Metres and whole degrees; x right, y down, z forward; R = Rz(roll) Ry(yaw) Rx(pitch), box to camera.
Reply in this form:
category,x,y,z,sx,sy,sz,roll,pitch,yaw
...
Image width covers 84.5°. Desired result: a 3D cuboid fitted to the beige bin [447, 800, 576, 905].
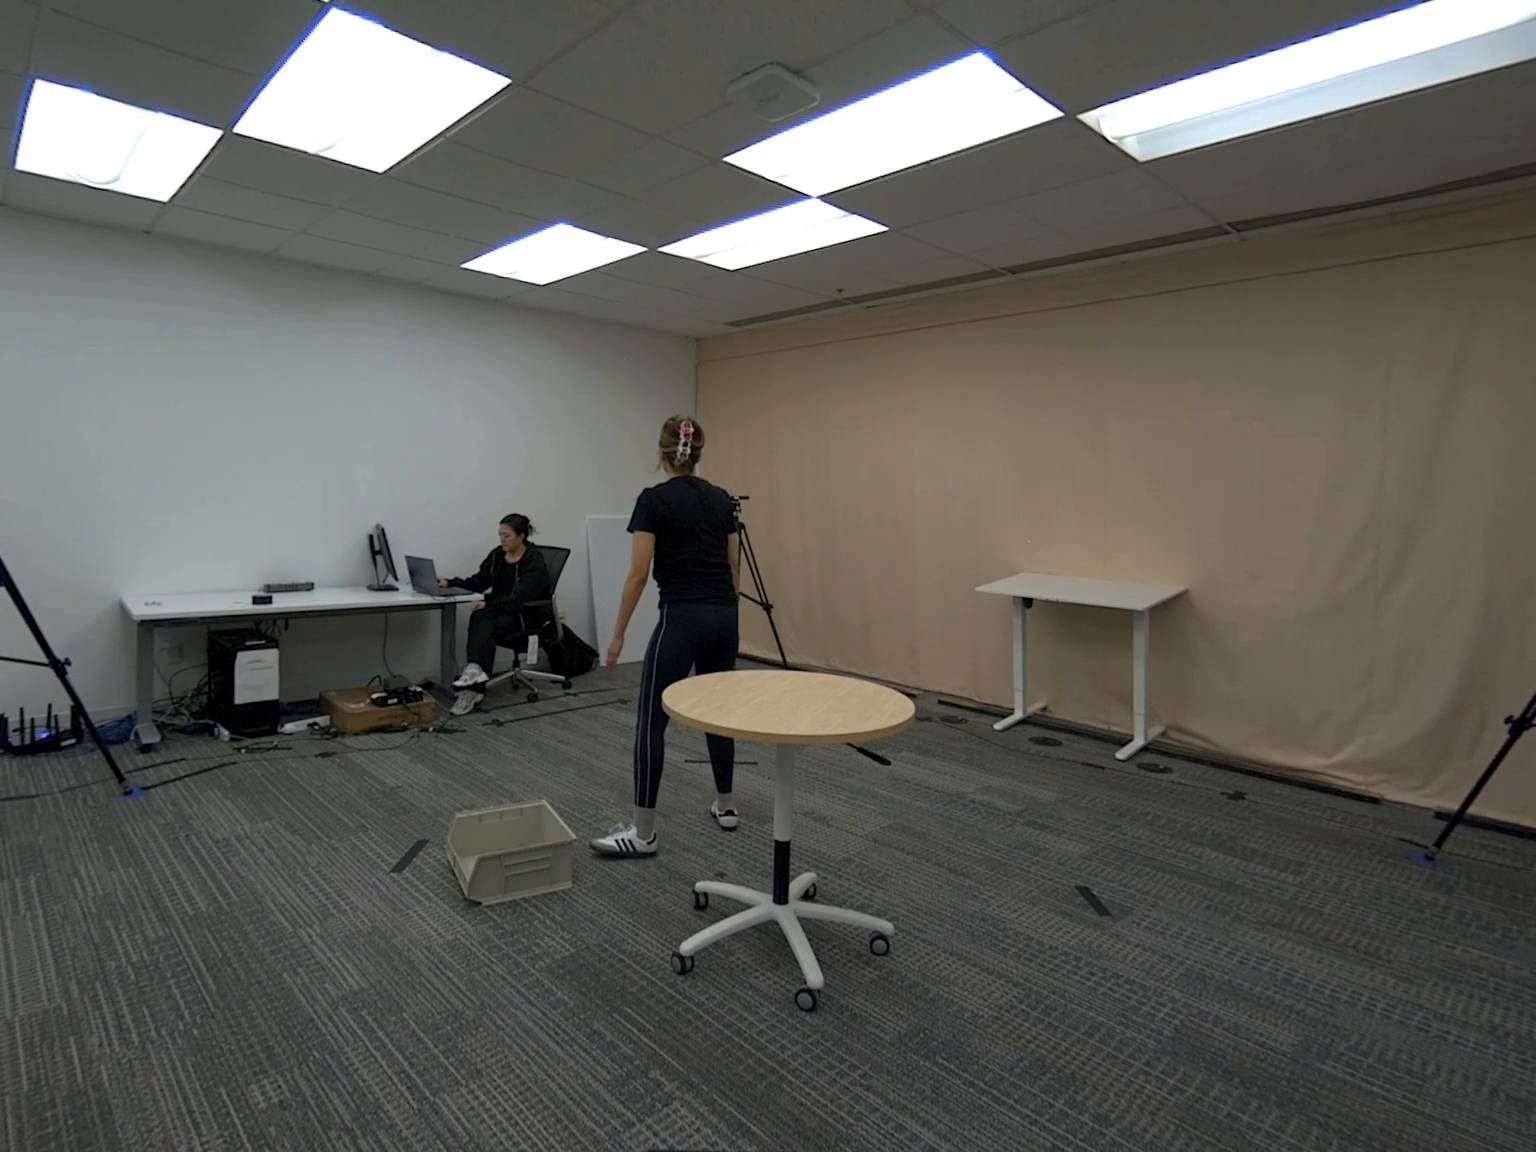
category,x,y,z,sx,sy,sz,roll,pitch,yaw
beige bin,-0.952,1.003,3.064,0.370,0.188,0.432,0,5,-30
